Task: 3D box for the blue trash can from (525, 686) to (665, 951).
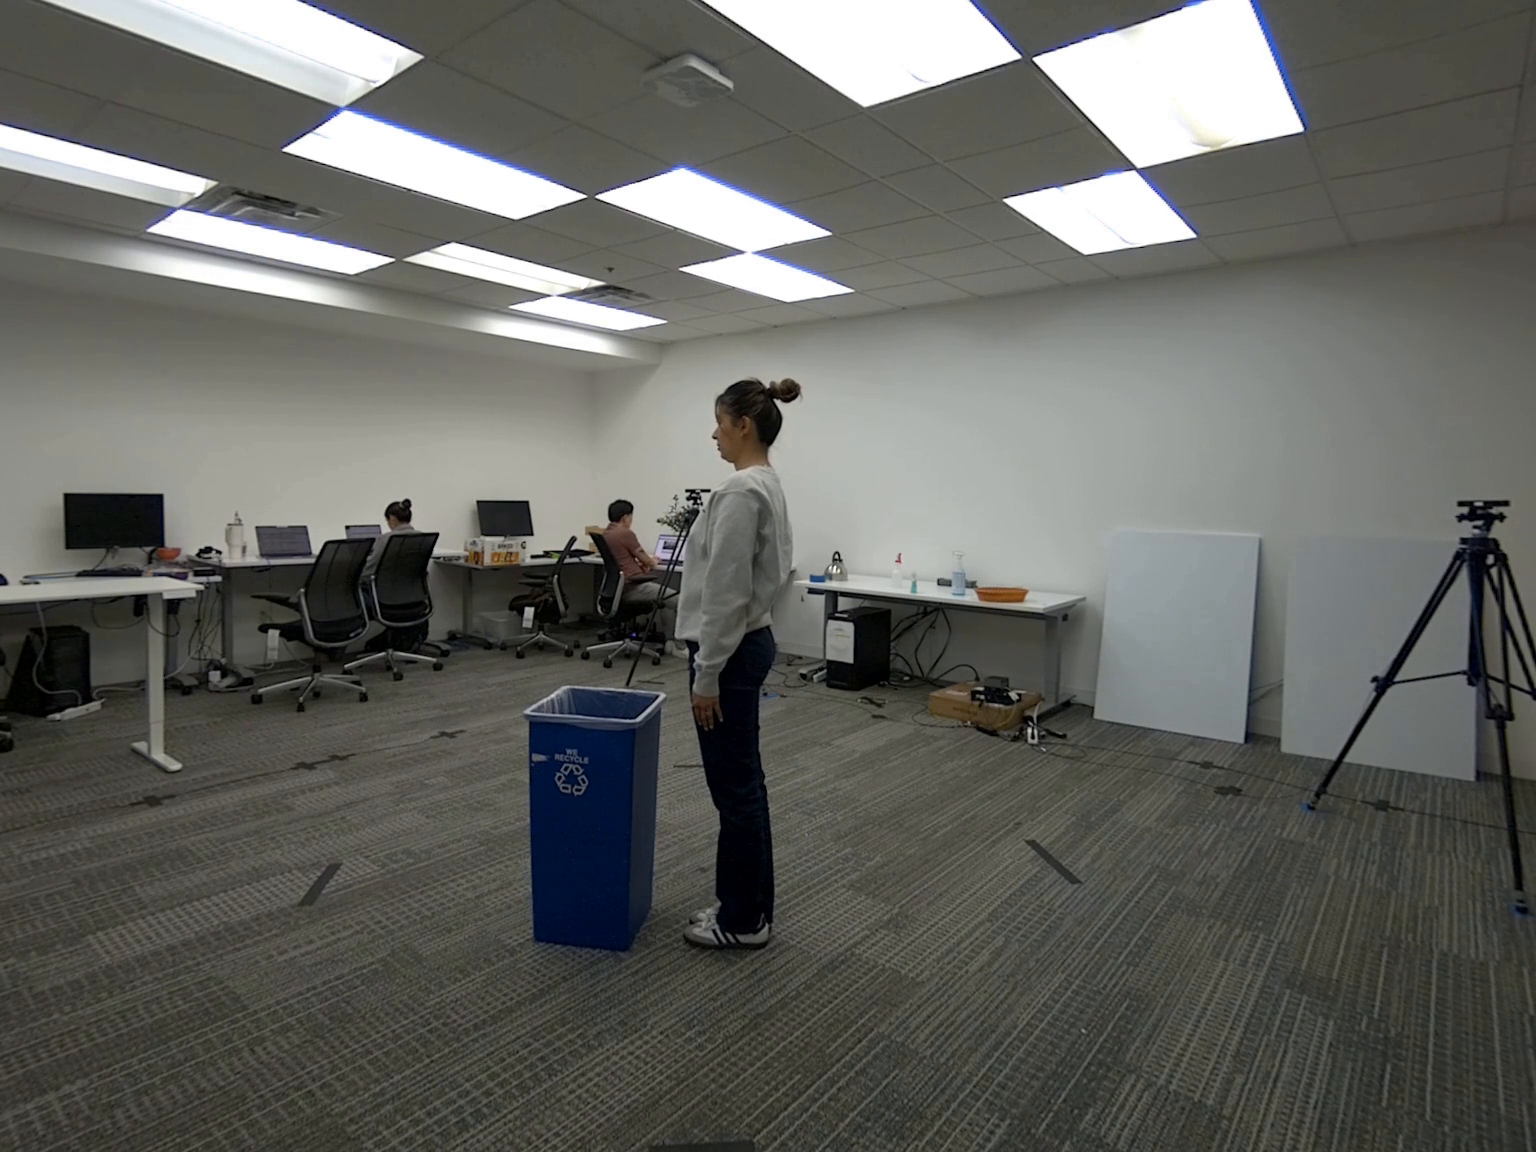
[{"bbox_3d":[-0.548,0.750,2.701,0.378,0.711,0.375,2,3,9],"label":"blue trash can"}]
